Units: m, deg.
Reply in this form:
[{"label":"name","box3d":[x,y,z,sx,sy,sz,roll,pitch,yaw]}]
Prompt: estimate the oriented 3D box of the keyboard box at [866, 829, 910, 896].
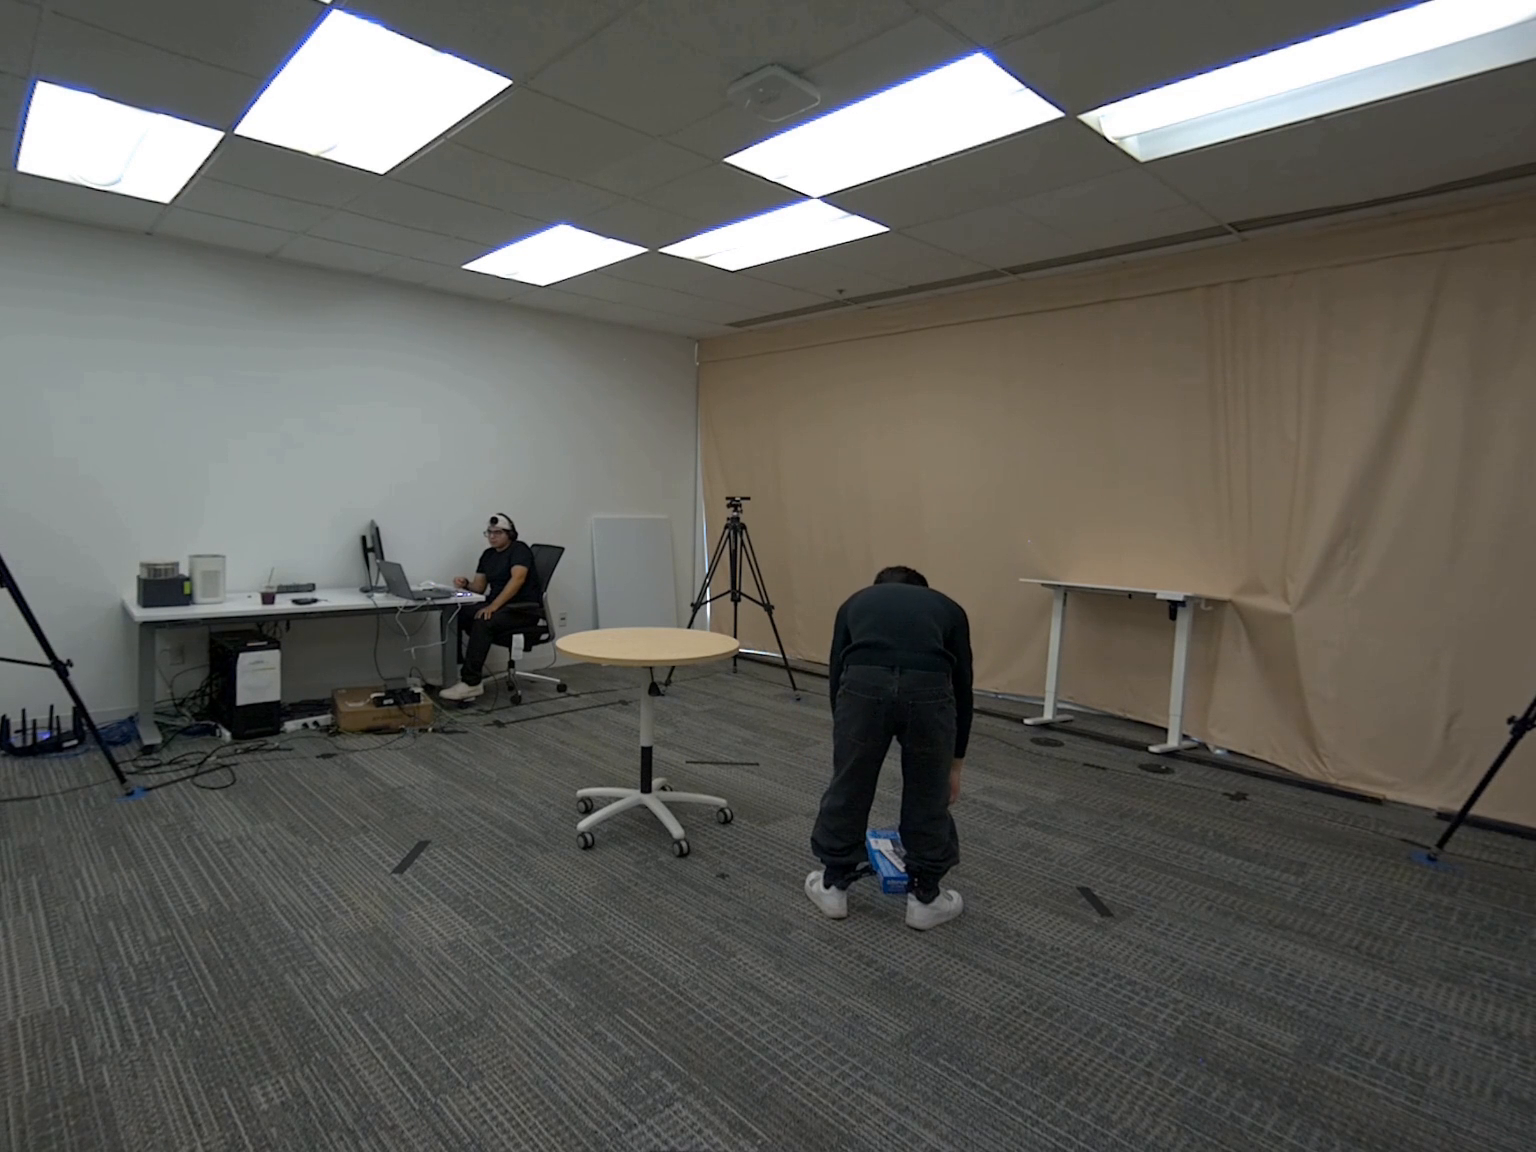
[{"label":"keyboard box","box3d":[0.473,1.083,3.214,0.175,0.059,0.439,1,5,-4]}]
